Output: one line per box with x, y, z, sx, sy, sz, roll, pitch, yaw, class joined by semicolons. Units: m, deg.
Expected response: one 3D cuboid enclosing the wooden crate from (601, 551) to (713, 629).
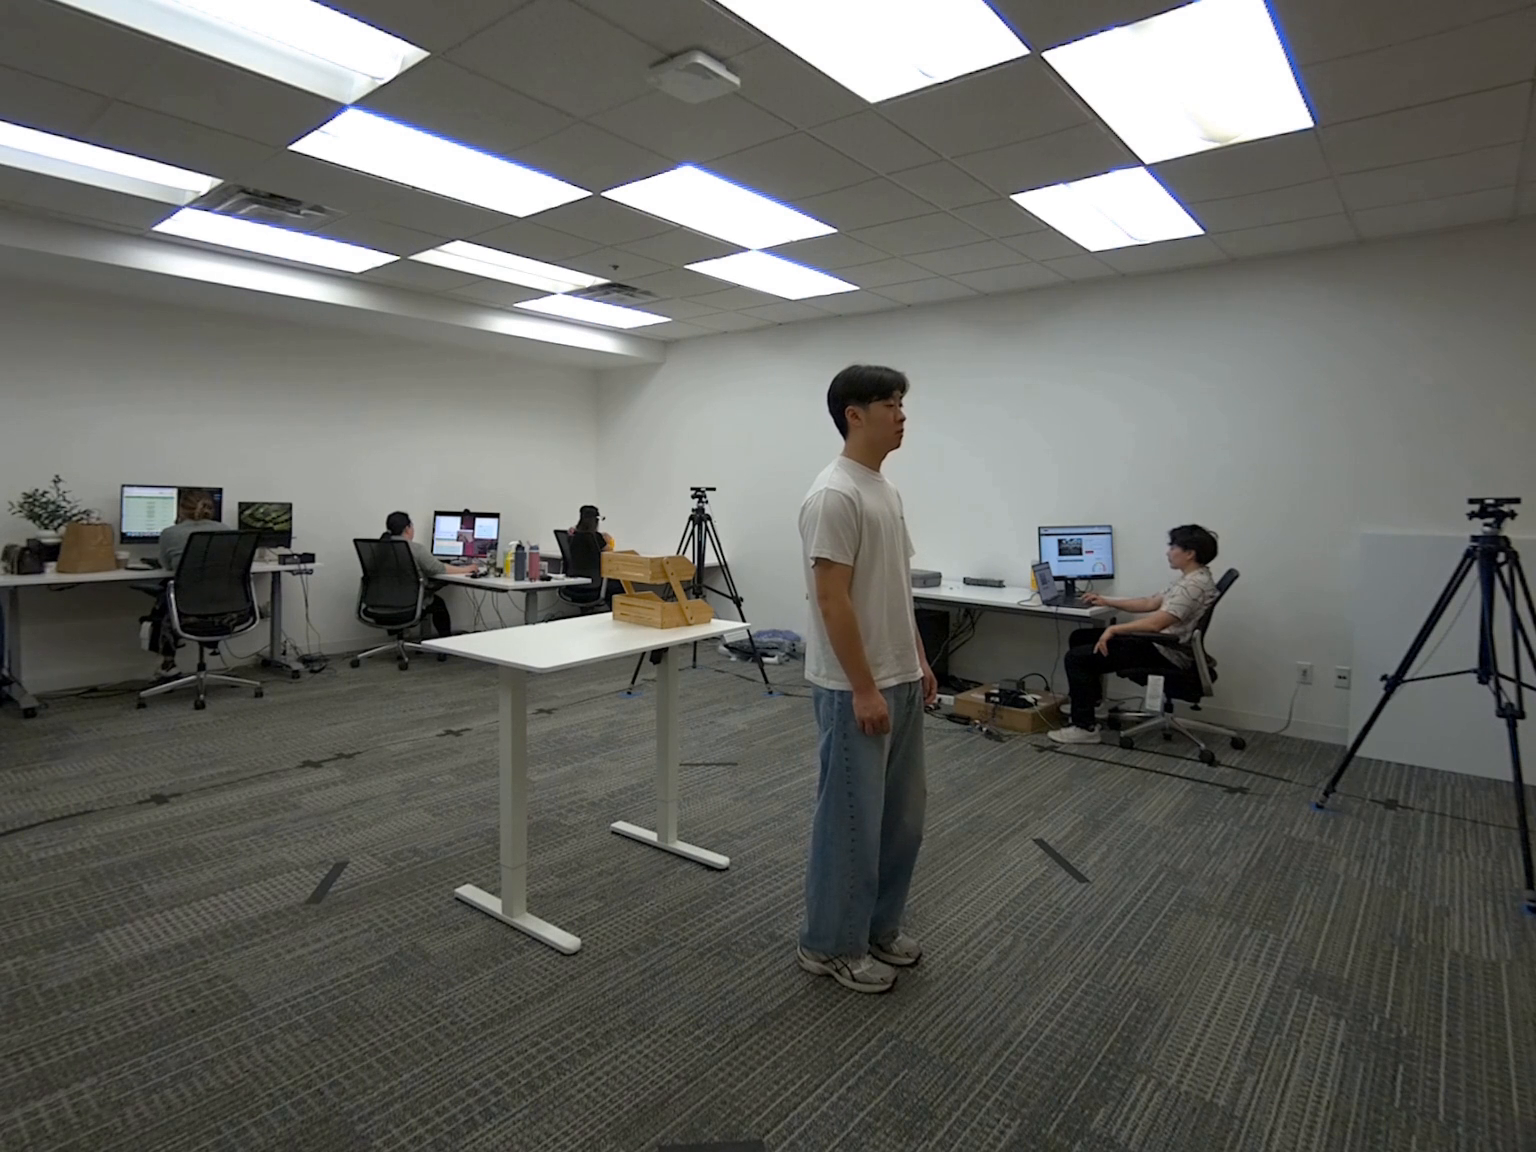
-0.422;0.036;3.183;0.335;0.272;0.293;5;7;45;wooden crate
